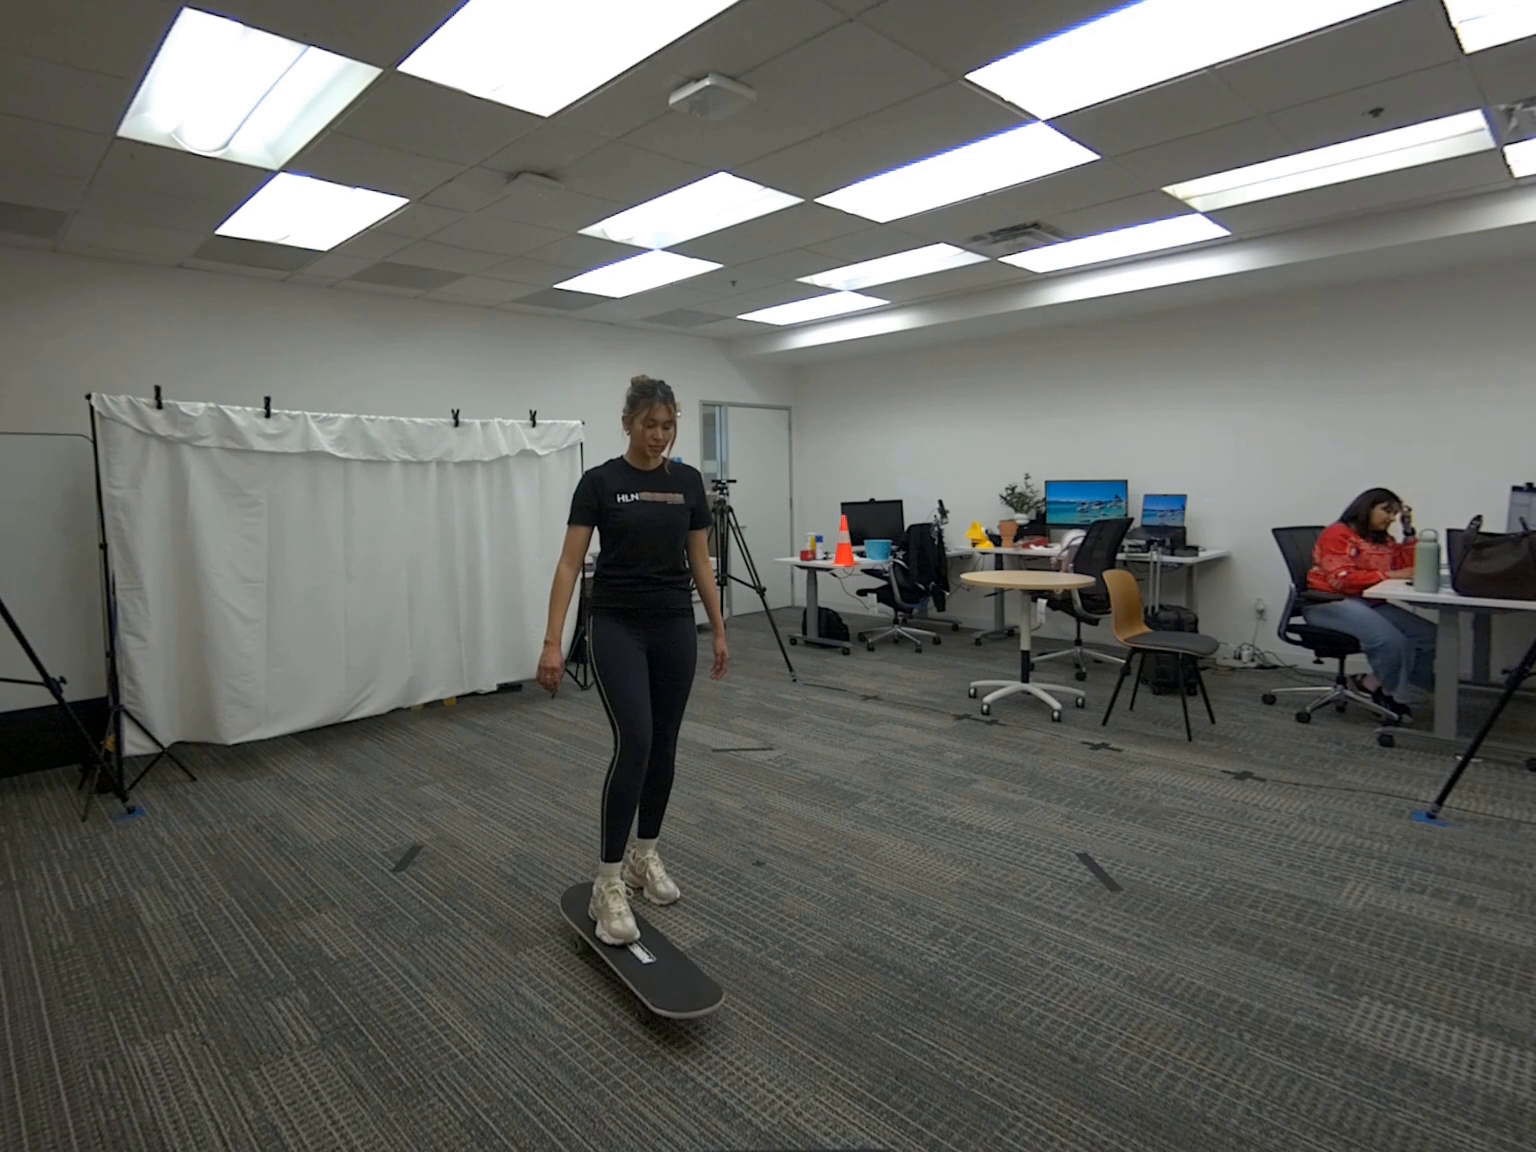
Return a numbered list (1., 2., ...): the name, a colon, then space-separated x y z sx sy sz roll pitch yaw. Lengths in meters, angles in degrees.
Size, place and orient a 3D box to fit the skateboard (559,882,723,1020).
1. skateboard: -0.373 1.083 2.425 0.189 0.110 0.809 -6 8 -35
